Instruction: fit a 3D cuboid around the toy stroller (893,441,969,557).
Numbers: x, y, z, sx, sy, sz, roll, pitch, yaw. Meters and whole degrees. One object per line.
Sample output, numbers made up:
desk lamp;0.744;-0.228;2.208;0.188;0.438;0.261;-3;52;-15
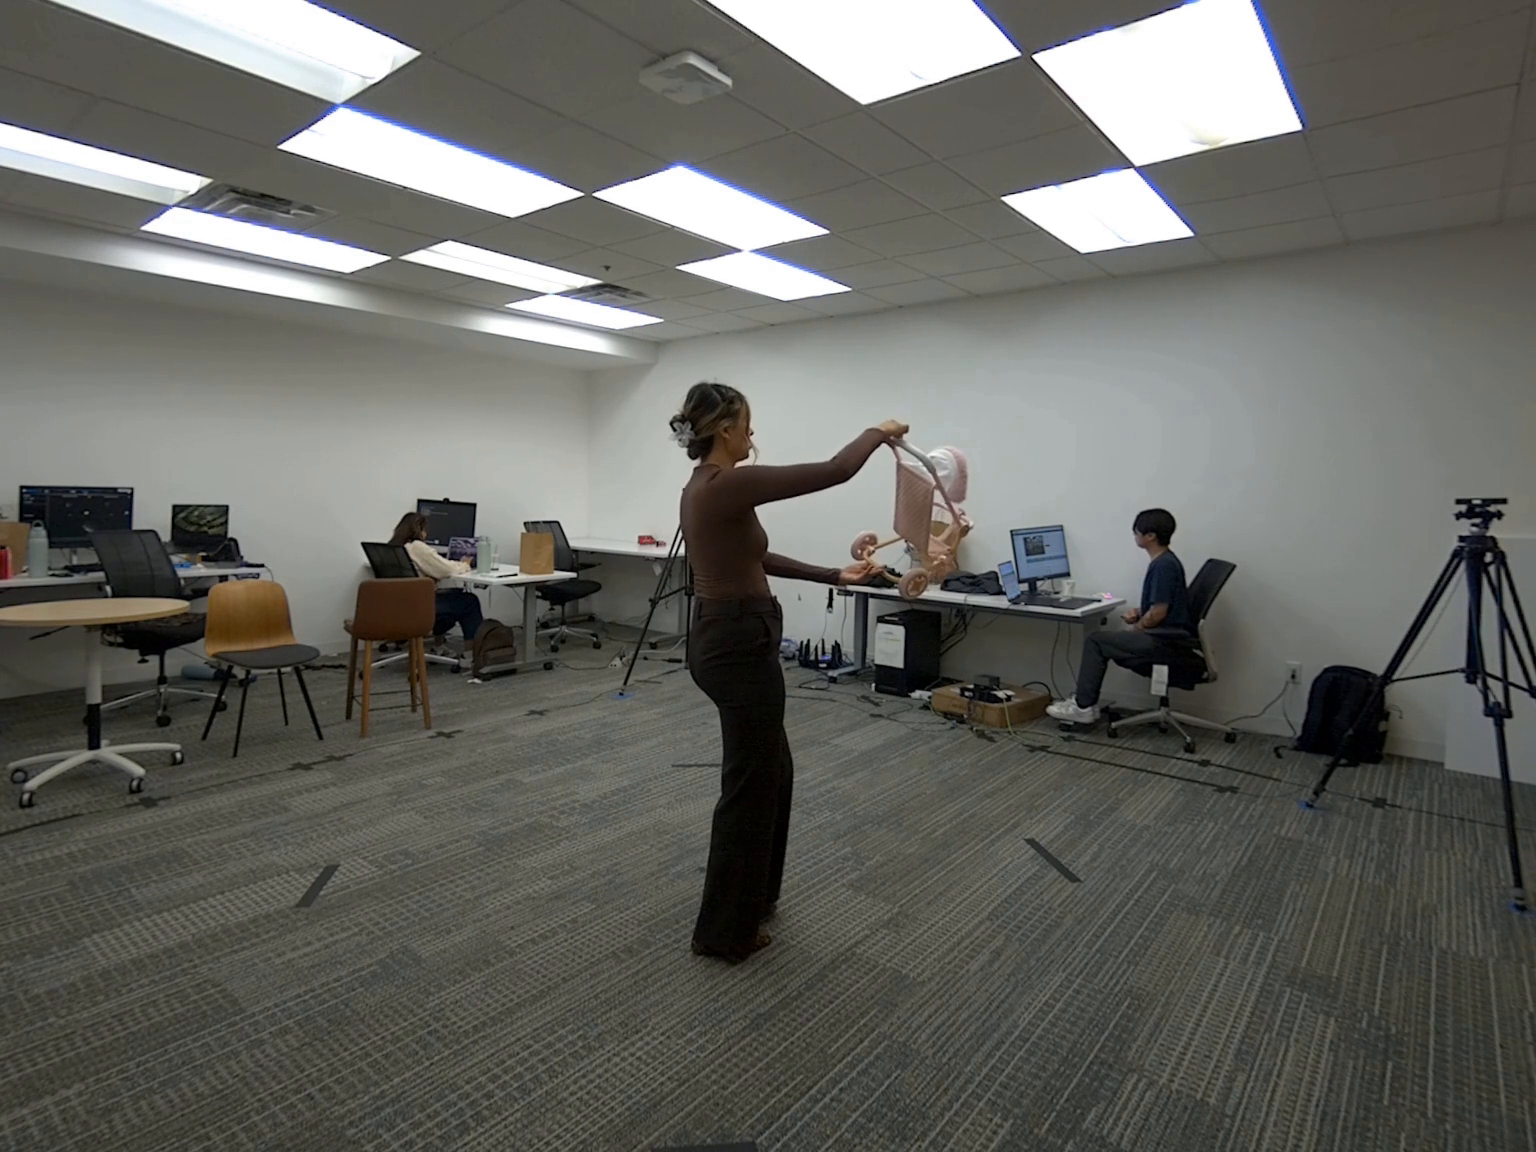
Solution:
toy stroller;0.495;-0.187;2.717;0.333;0.525;0.293;-6;31;-28
